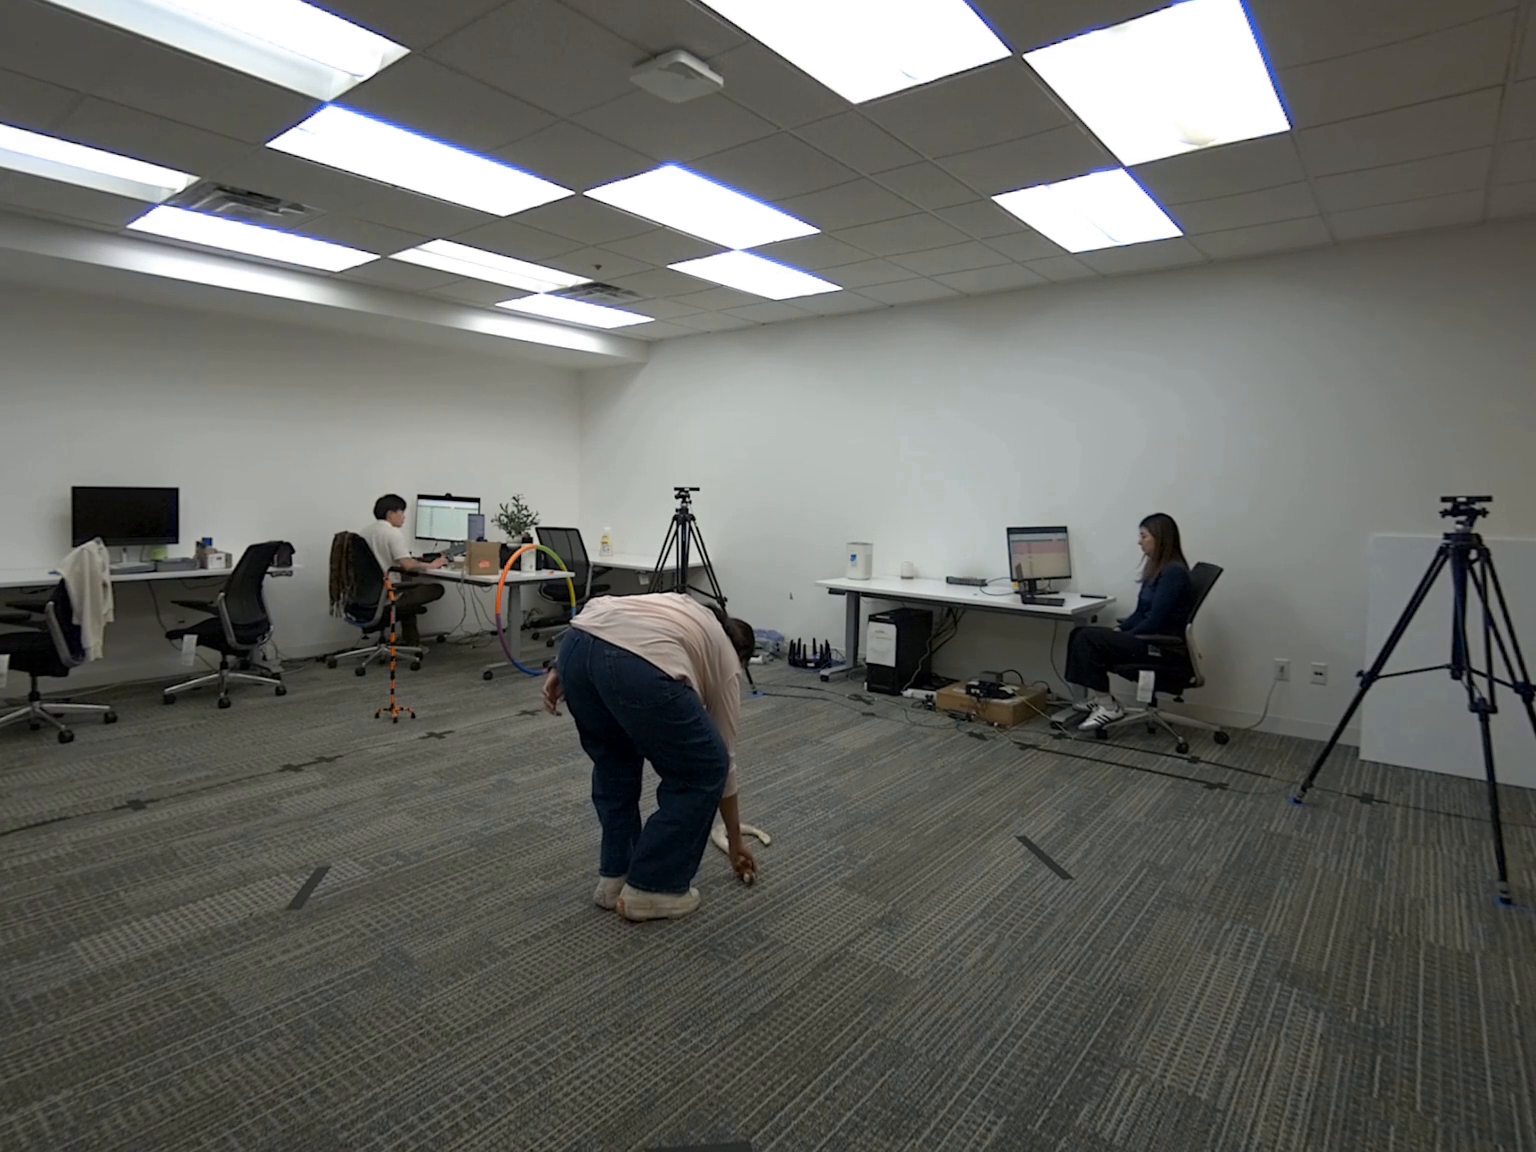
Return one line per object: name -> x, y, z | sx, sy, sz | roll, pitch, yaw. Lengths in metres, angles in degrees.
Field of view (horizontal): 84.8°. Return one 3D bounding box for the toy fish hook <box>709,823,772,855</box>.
toy fish hook -> -0.082, 1.031, 3.210 | 0.221, 0.048, 0.515 | -2, 6, -14
